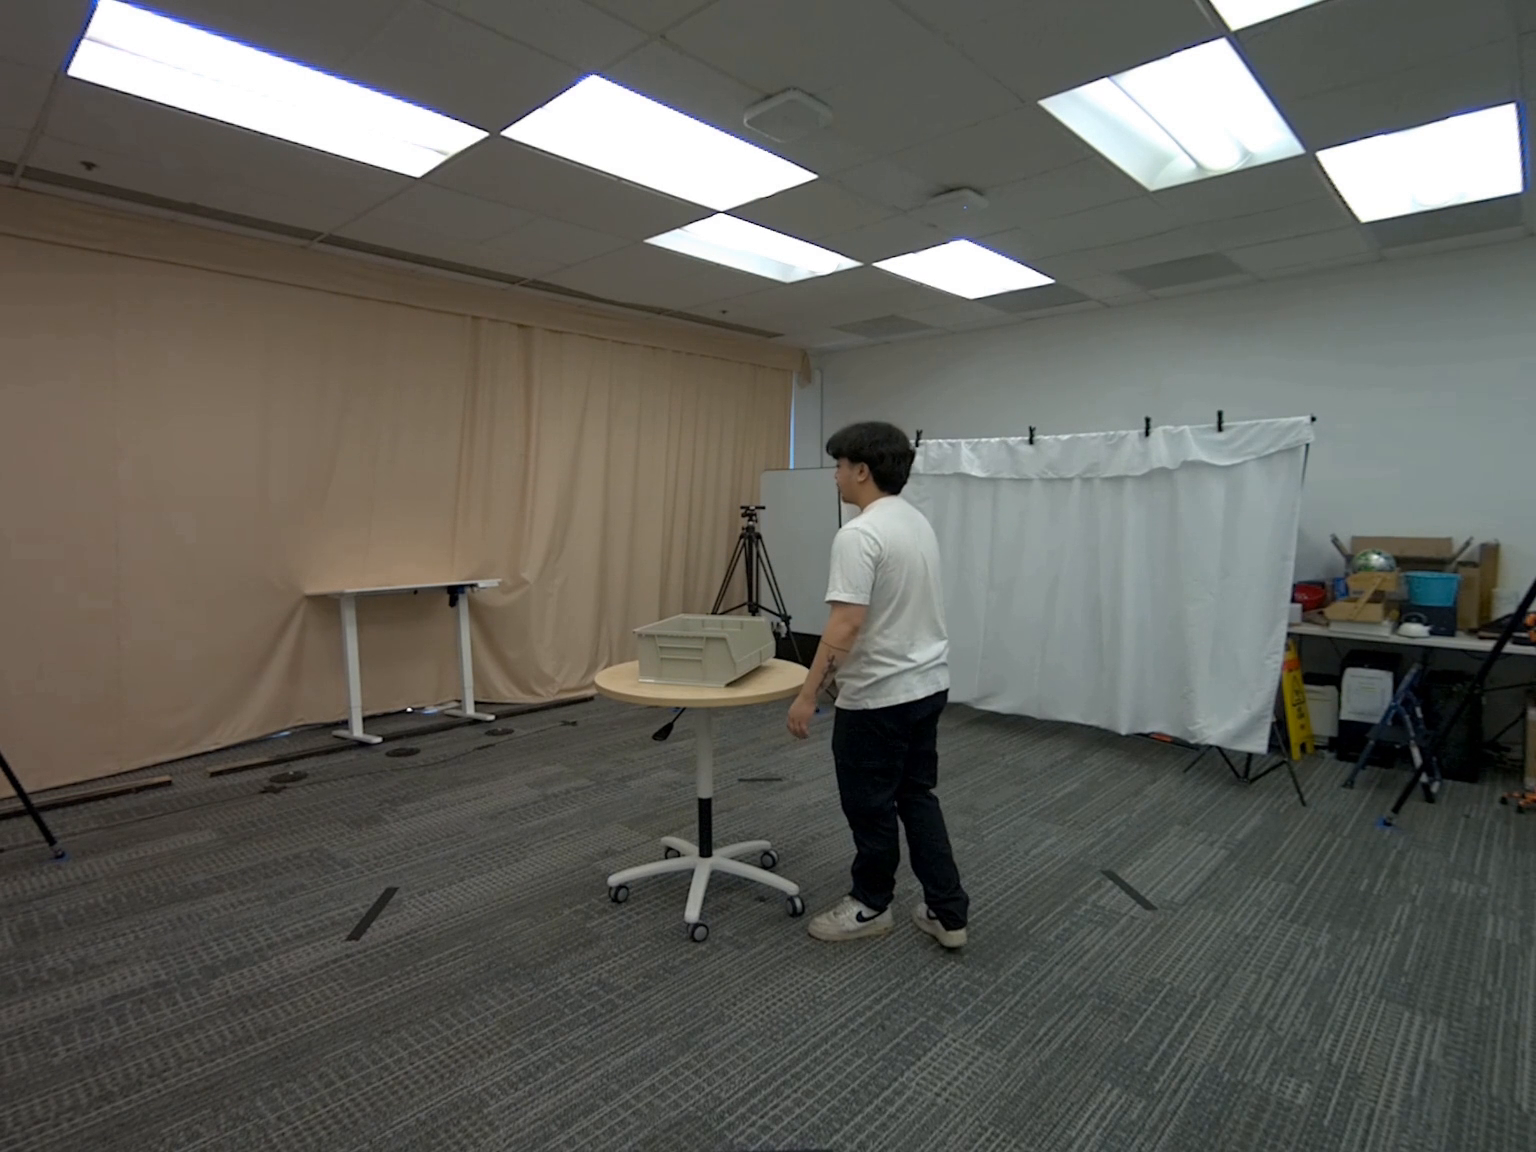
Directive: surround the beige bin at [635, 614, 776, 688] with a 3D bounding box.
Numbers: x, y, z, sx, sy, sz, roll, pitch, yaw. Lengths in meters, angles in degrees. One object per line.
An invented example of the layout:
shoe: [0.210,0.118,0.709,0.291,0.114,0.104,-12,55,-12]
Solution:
beige bin: [-0.219,0.262,2.989,0.385,0.188,0.415,0,5,19]
